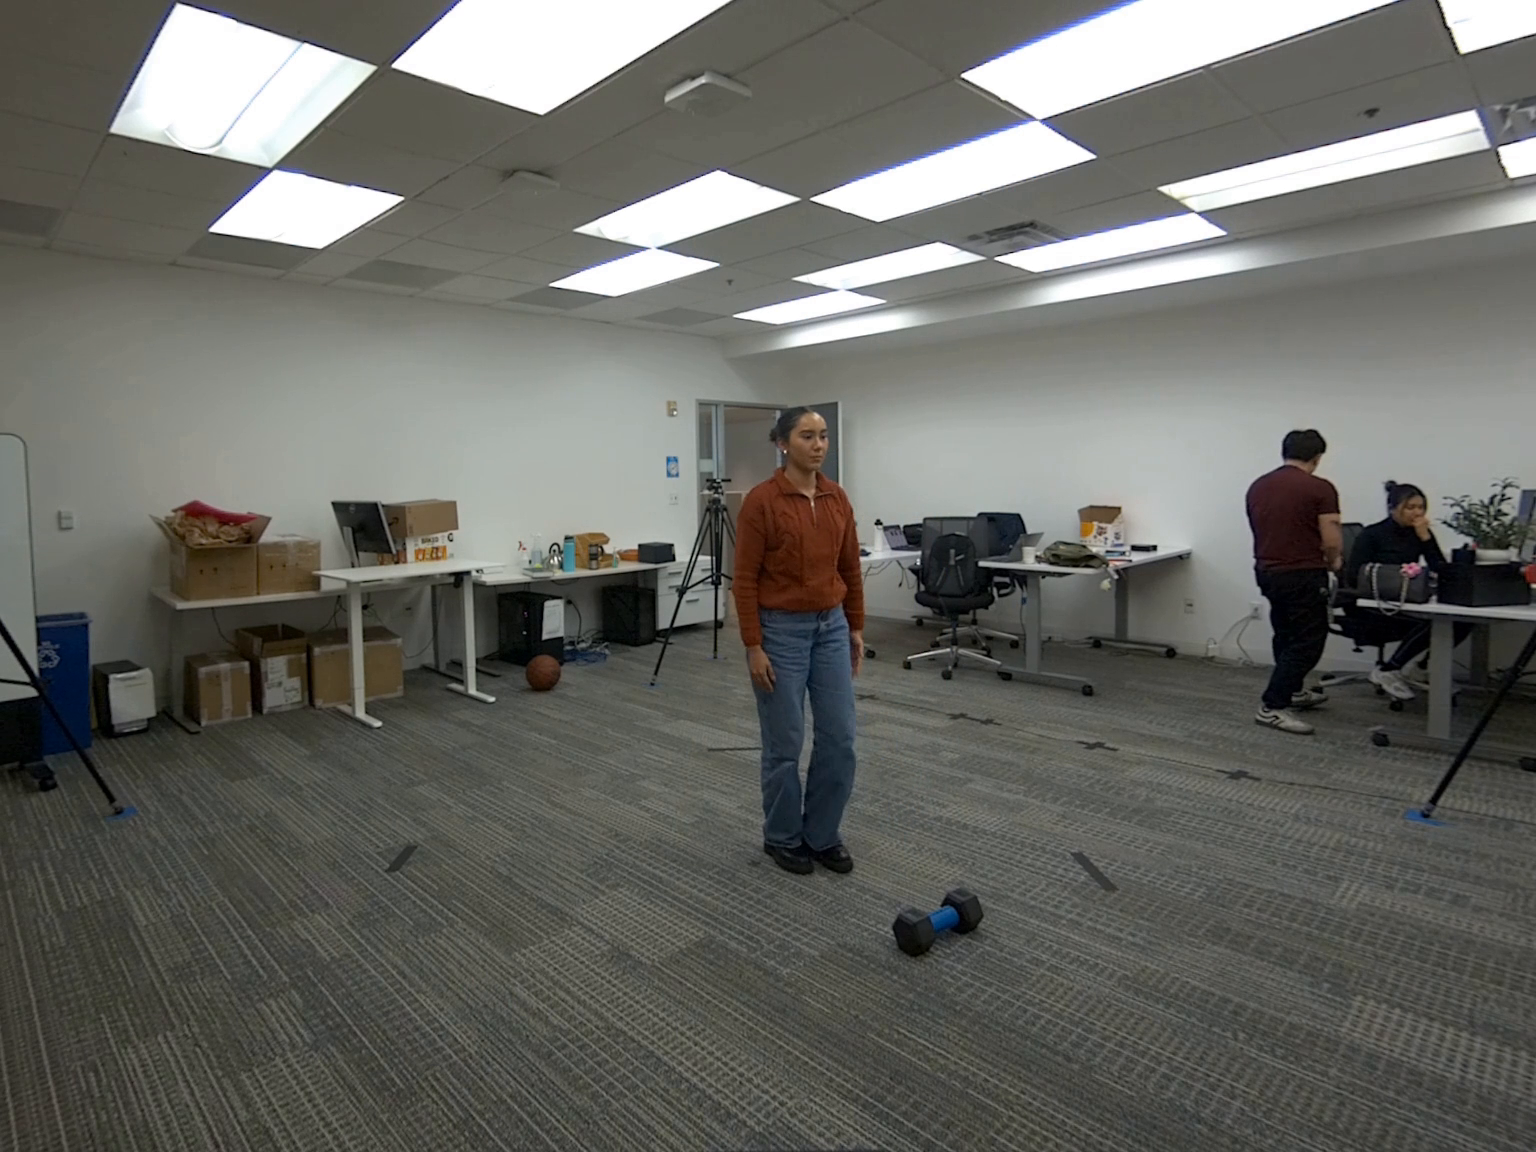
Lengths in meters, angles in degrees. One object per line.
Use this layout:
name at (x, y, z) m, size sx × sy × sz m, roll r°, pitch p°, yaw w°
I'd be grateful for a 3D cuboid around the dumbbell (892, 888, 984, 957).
dumbbell at (0.523, 1.043, 2.571) m, size 0.286 × 0.126 × 0.109 m, roll -5°, pitch -23°, yaw -35°
